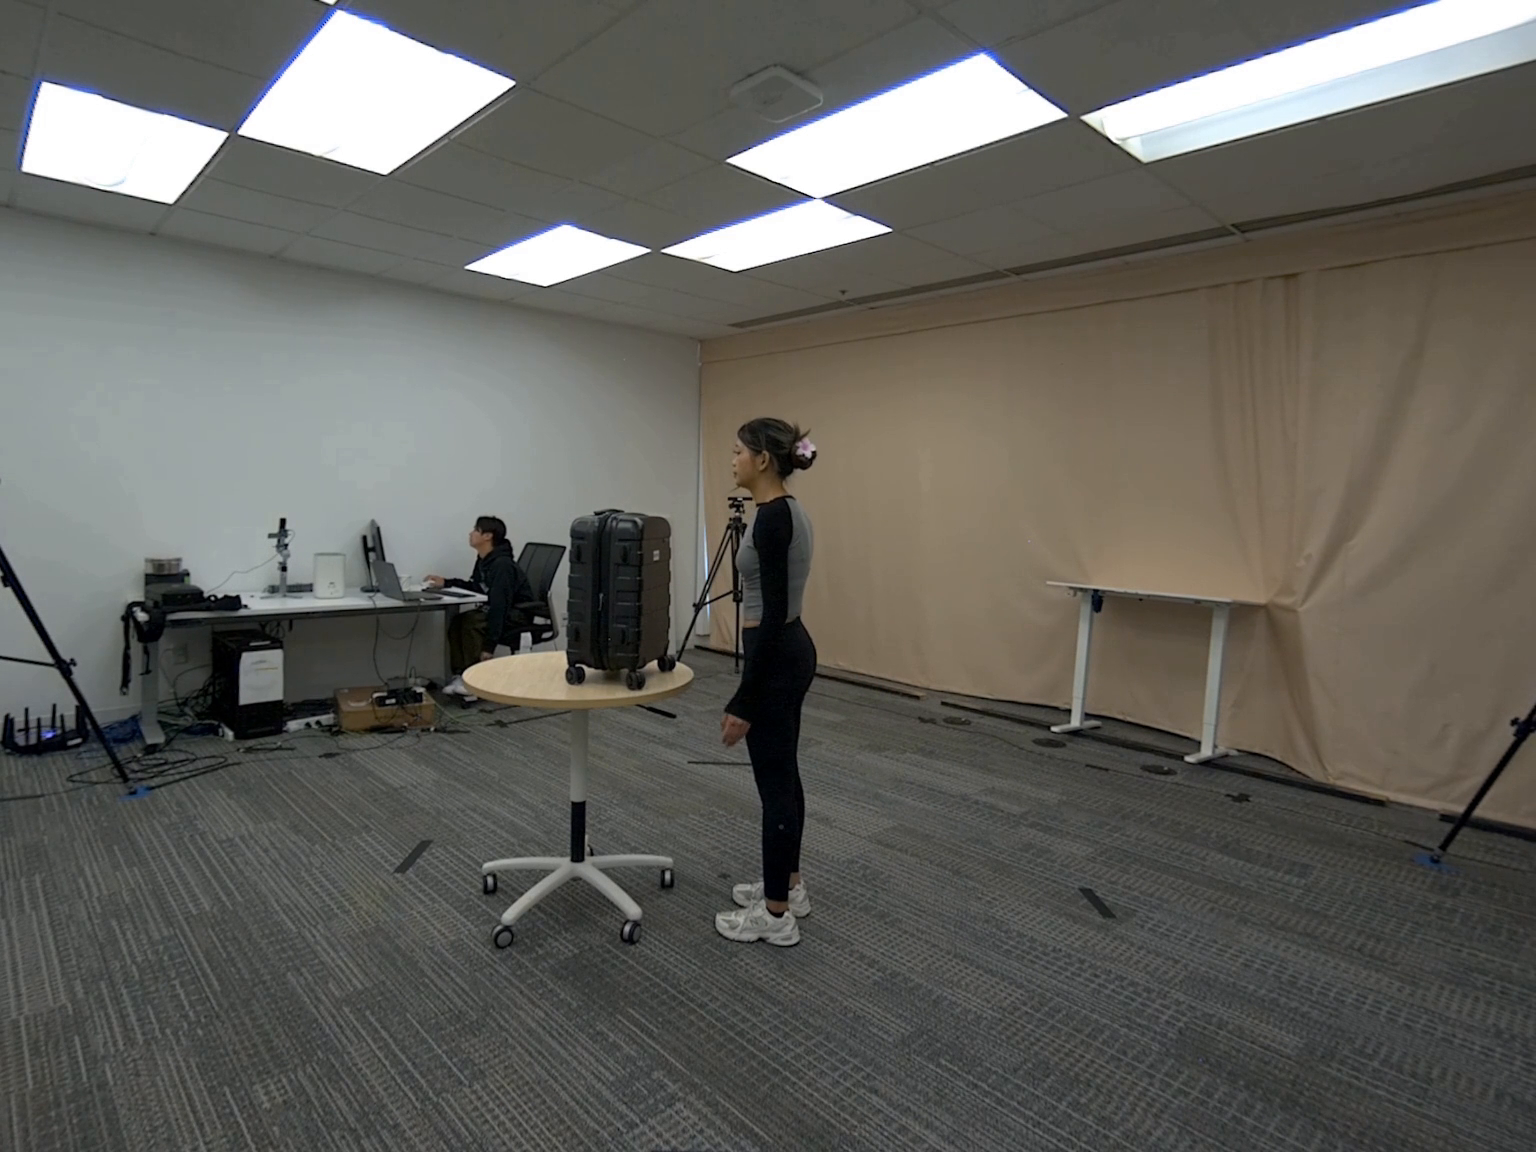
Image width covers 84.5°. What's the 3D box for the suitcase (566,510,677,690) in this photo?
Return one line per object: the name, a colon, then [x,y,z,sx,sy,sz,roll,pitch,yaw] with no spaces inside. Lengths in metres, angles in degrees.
suitcase: [-0.485,0.058,2.795,0.251,0.548,0.372,2,3,14]
